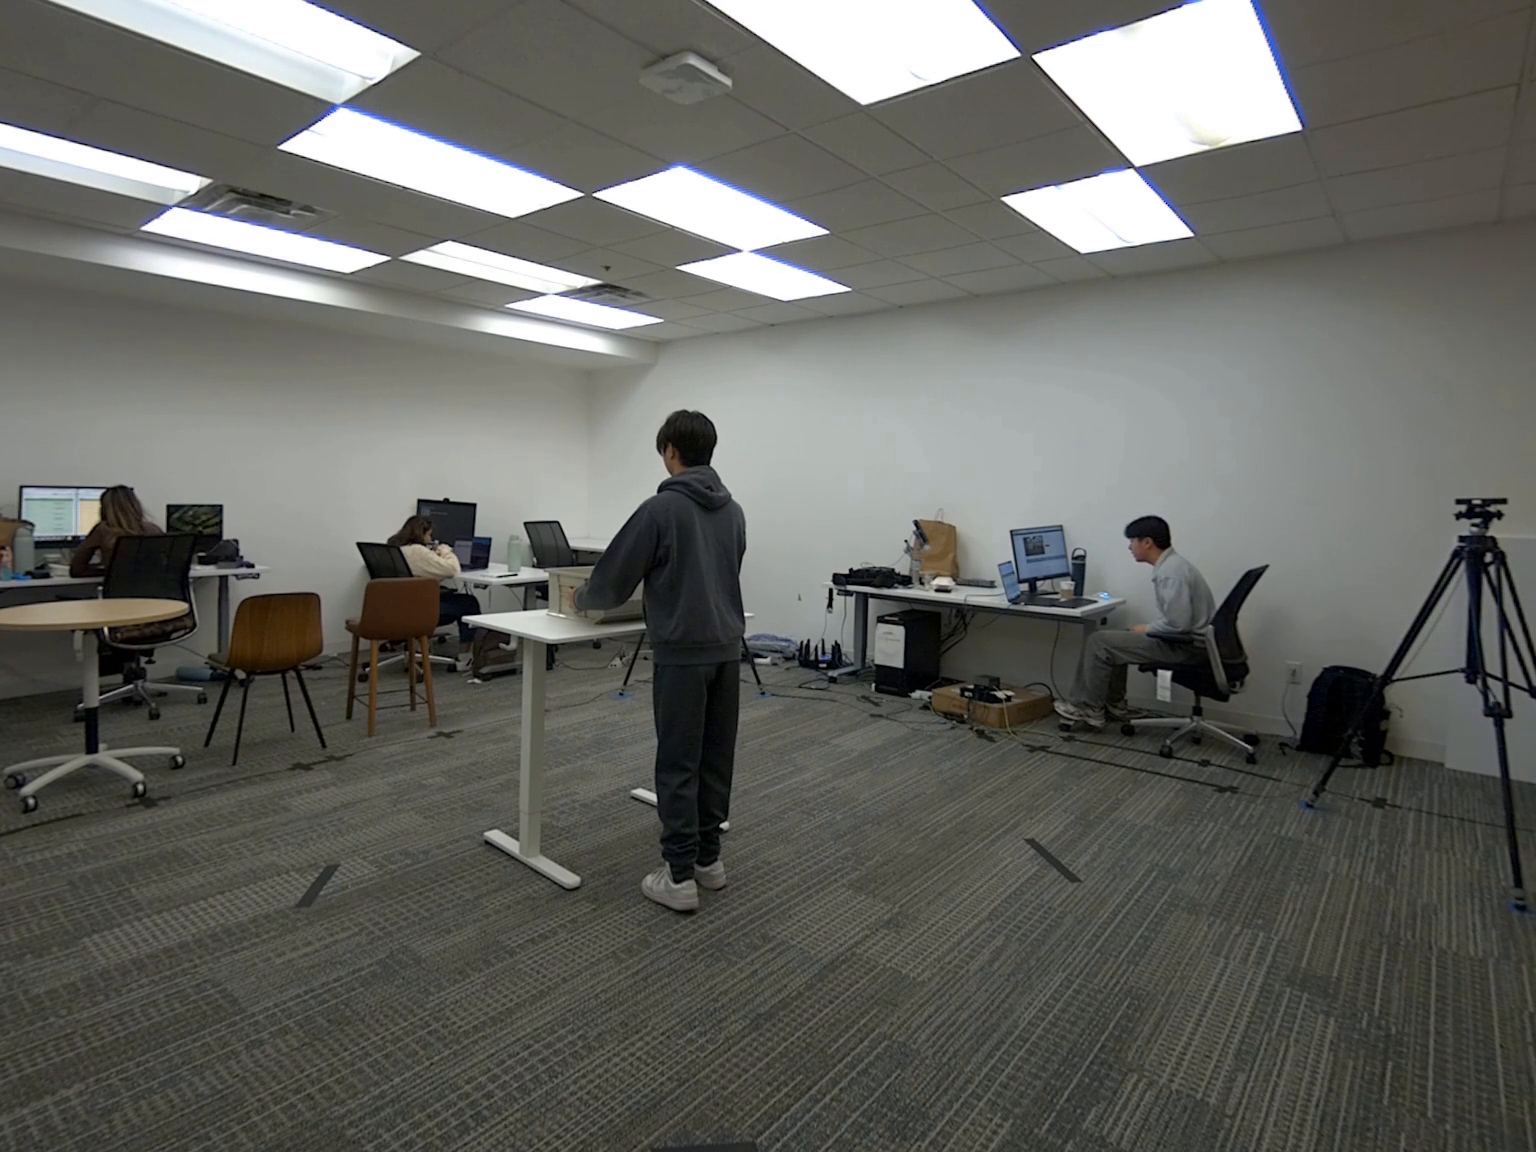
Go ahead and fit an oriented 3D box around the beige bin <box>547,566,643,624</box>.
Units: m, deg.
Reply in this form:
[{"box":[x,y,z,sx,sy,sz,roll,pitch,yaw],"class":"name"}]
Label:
[{"box":[-0.622,0.070,3.371,0.390,0.188,0.410,6,7,42],"class":"beige bin"}]
